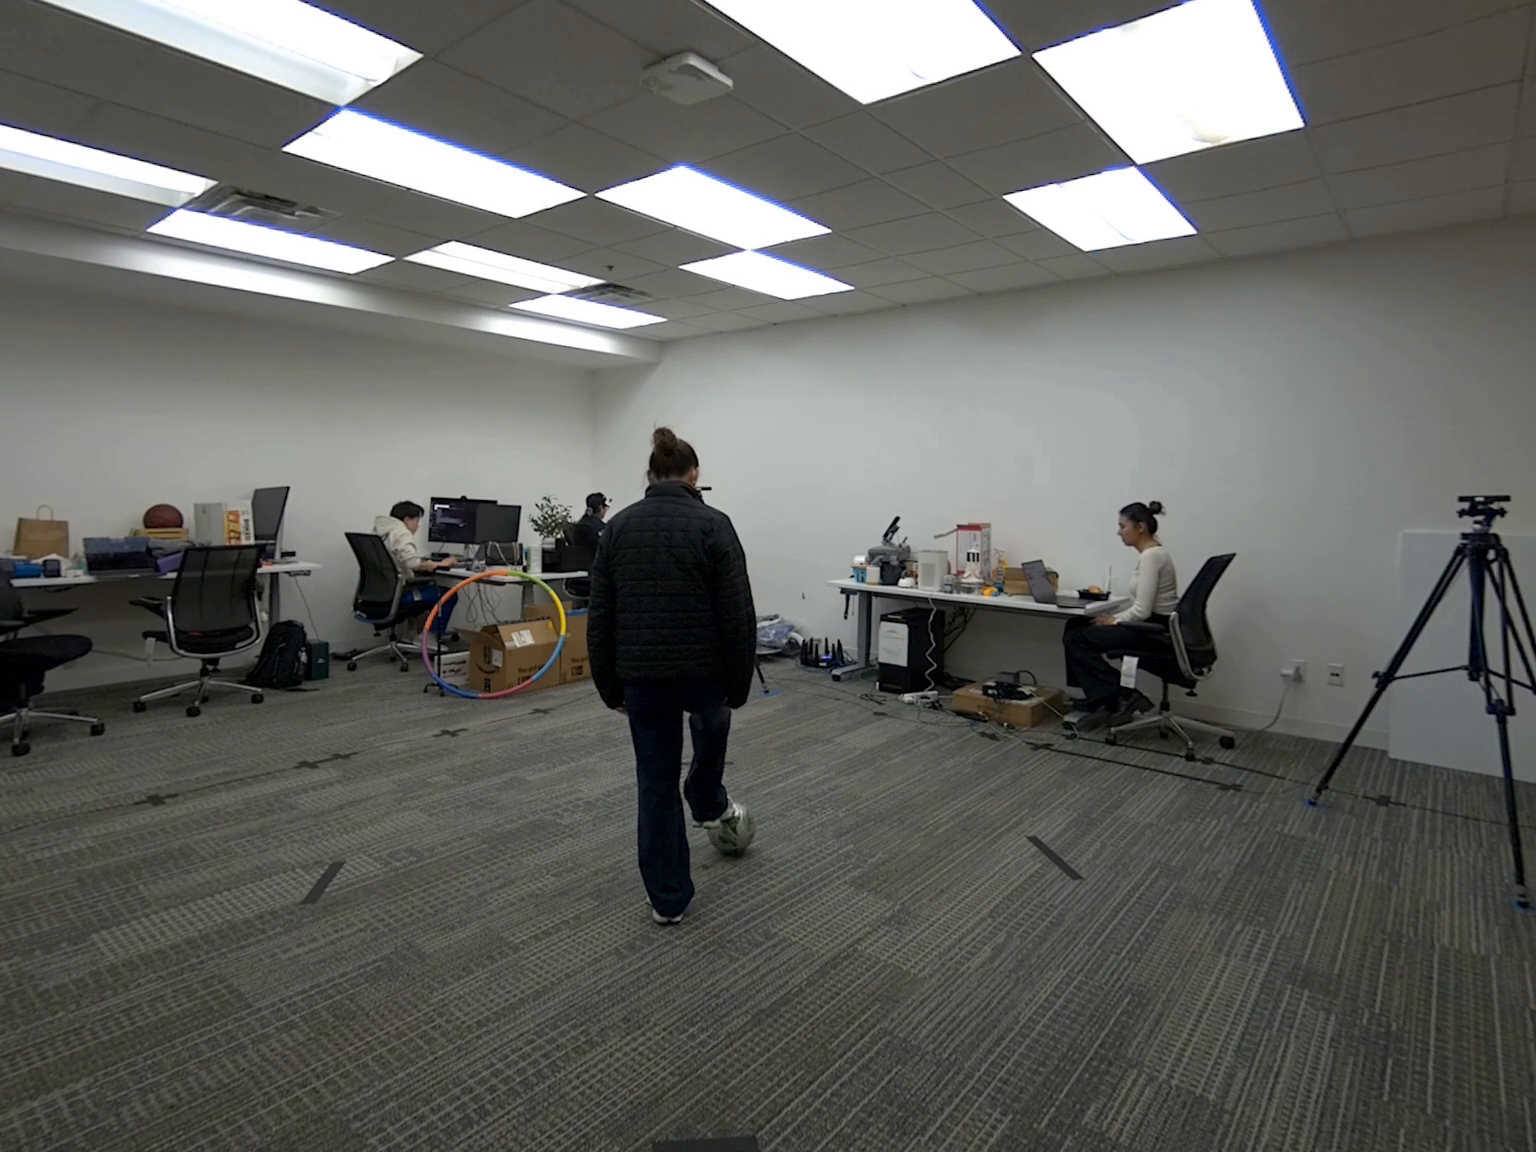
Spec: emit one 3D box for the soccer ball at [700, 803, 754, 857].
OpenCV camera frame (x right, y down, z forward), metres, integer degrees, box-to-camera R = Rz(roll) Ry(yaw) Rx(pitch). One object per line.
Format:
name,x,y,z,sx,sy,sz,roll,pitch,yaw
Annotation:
soccer ball,-0.136,0.957,3.248,0.187,0.187,0.188,1,4,-2
